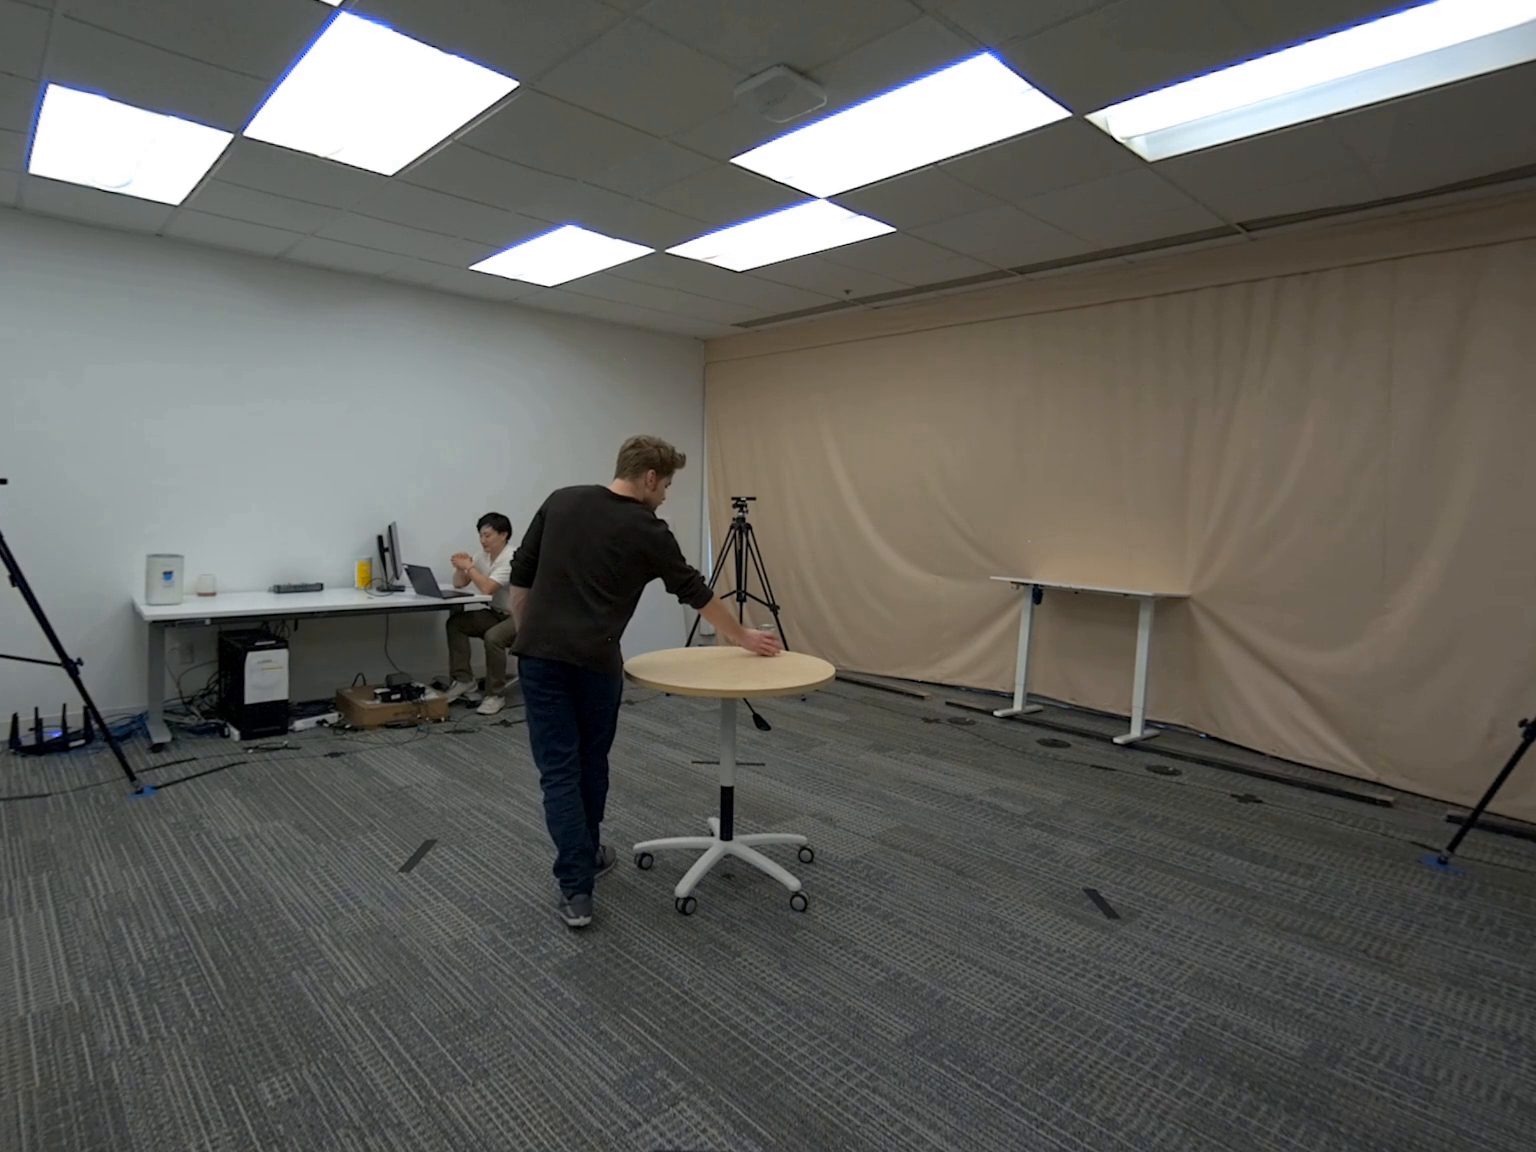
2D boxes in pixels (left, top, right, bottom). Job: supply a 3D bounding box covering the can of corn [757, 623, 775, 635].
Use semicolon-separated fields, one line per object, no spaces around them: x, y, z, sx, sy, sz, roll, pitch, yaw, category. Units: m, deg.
-0.016;0.253;3.298;0.074;0.111;0.074;3;4;-2;can of corn
